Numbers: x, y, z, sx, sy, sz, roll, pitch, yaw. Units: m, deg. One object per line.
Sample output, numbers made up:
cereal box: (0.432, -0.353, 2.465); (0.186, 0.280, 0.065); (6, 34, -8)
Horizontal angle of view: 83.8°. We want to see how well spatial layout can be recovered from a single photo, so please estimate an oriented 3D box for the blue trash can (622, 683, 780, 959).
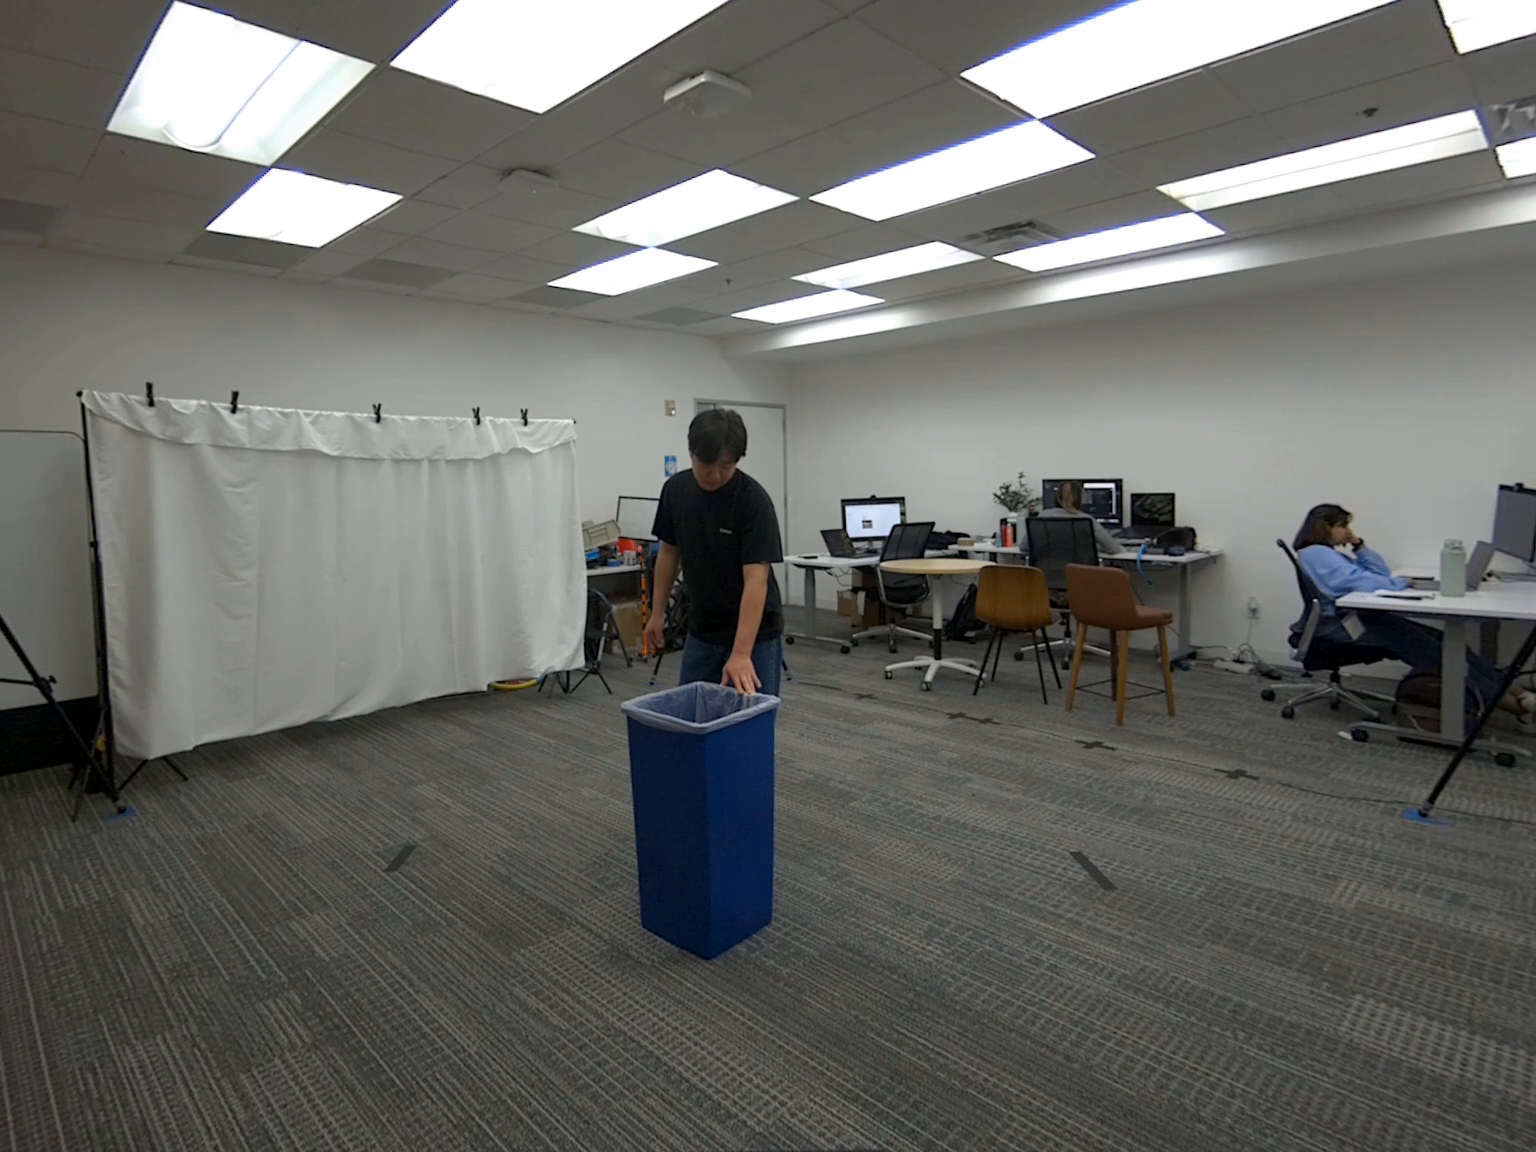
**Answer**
blue trash can: (-0.200, 0.743, 2.652); (0.389, 0.711, 0.364); (2, 5, 40)
